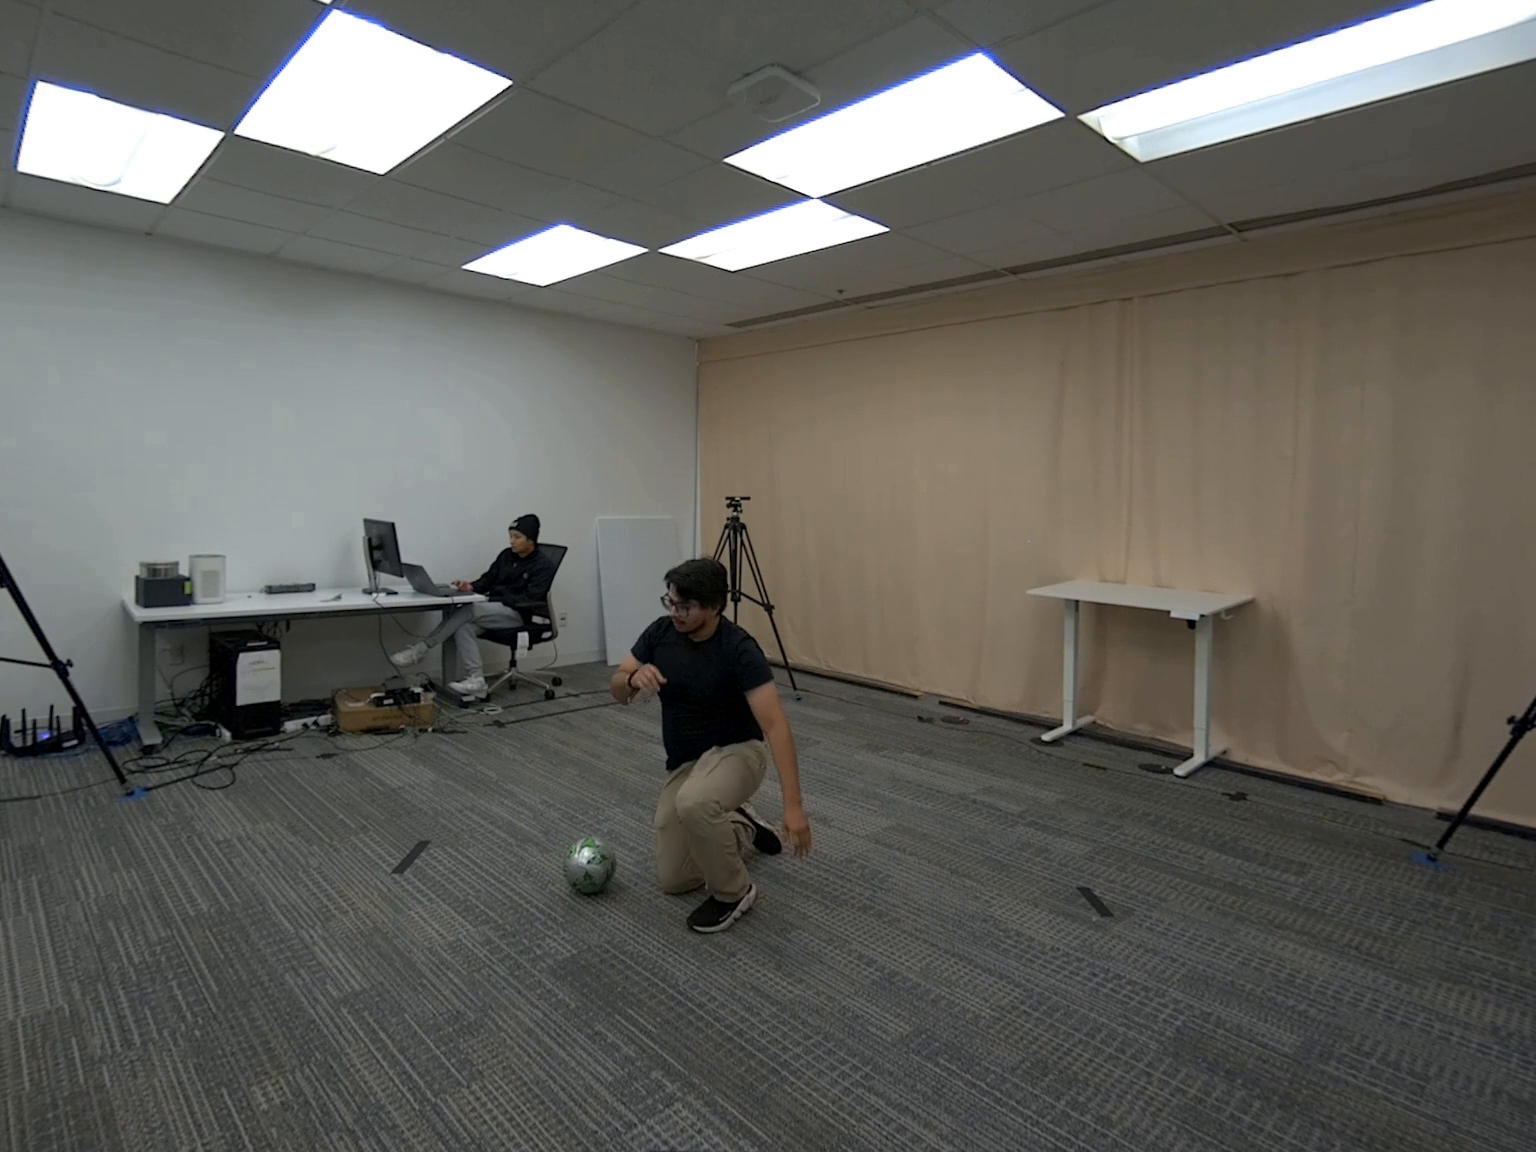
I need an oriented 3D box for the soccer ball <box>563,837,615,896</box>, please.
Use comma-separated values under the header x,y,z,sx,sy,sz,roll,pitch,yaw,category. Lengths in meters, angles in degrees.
x,y,z,sx,sy,sz,roll,pitch,yaw,category
-0.623,1.012,2.960,0.187,0.187,0.188,1,4,-1,soccer ball
